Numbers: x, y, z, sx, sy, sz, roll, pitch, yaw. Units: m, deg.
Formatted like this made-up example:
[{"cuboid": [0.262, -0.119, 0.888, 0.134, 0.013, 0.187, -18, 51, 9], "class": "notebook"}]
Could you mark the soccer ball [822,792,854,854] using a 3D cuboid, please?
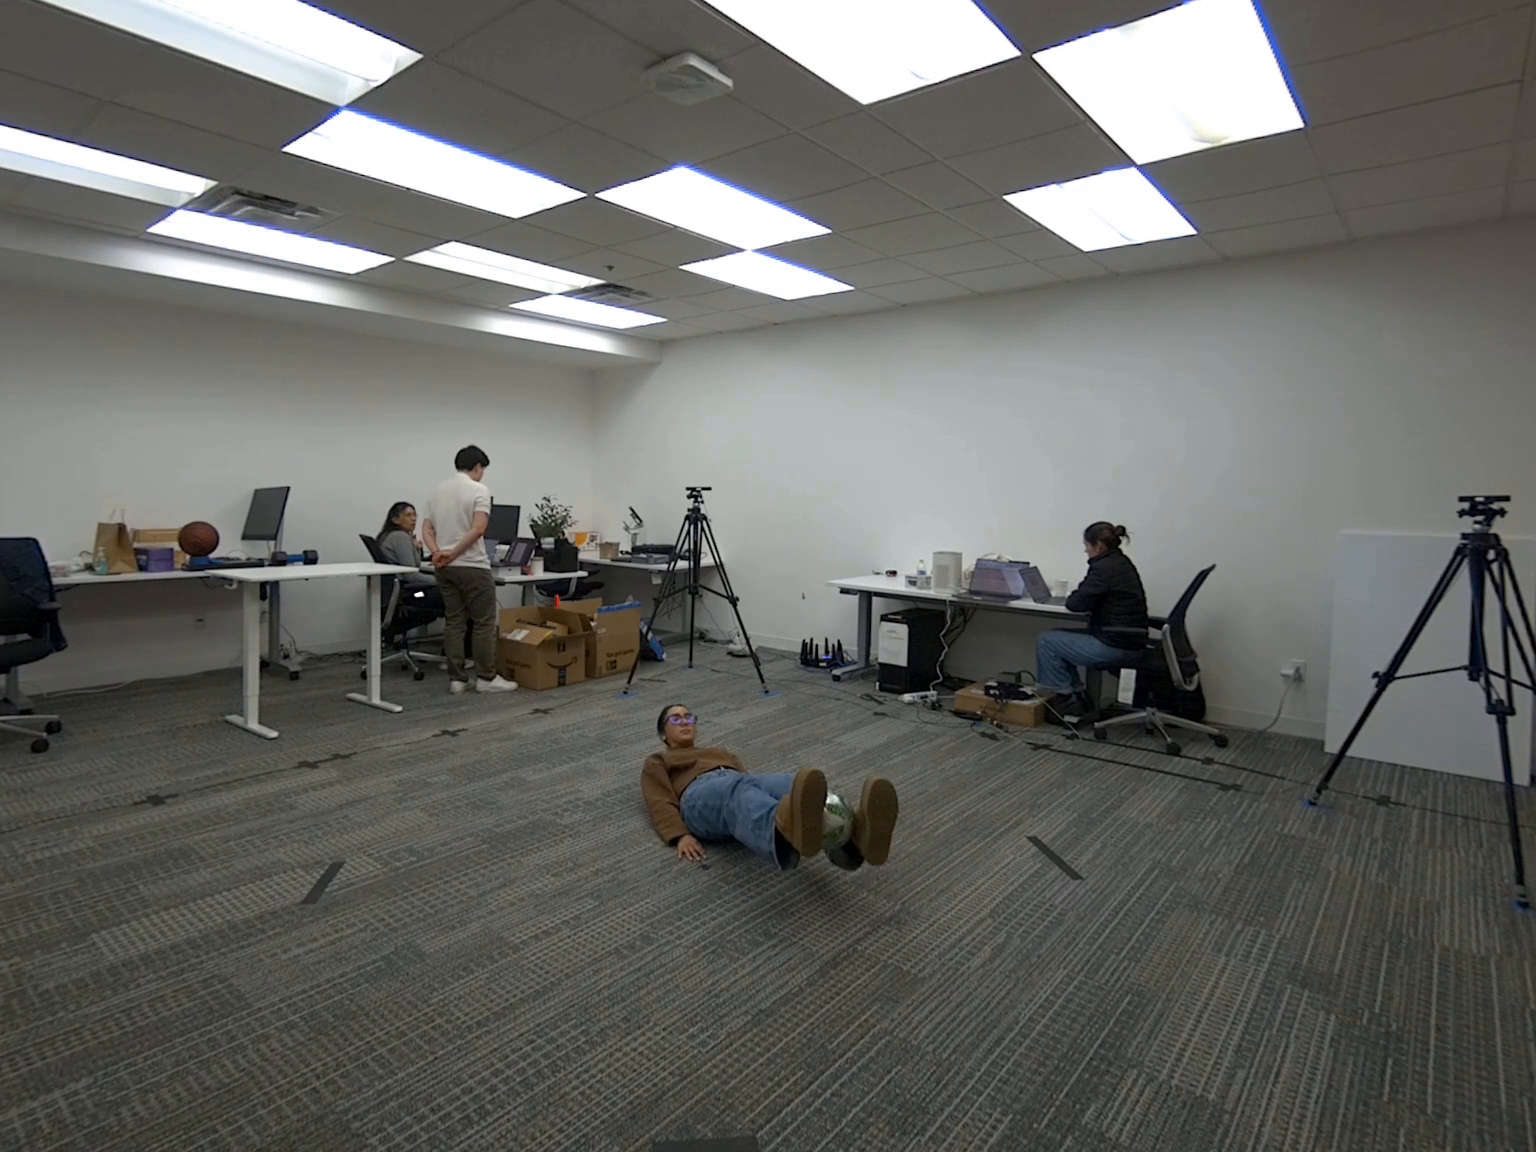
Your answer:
[{"cuboid": [0.181, 0.798, 2.783, 0.187, 0.187, 0.188, 1, 4, -2], "class": "soccer ball"}]
